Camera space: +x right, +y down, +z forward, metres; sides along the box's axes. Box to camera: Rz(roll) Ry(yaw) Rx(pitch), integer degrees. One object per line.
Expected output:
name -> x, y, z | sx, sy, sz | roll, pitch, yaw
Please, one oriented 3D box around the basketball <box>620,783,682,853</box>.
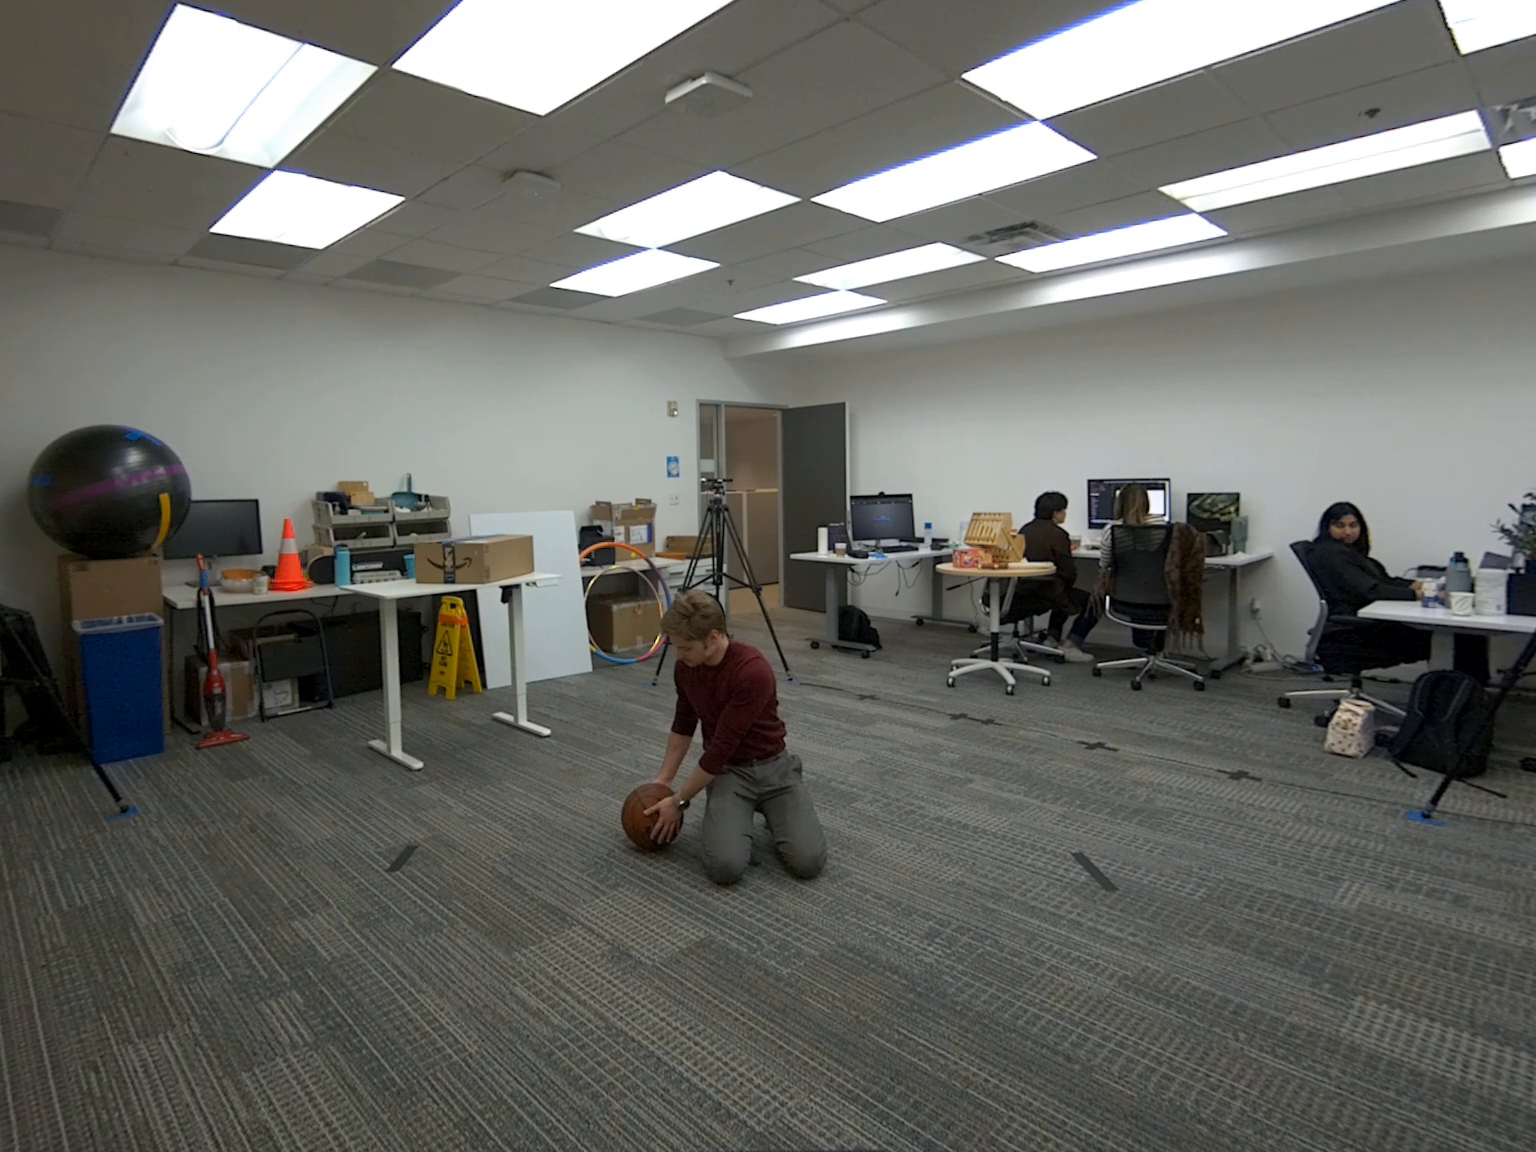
basketball -> -0.439, 0.912, 3.242 | 0.236, 0.235, 0.237 | -1, 5, -2
